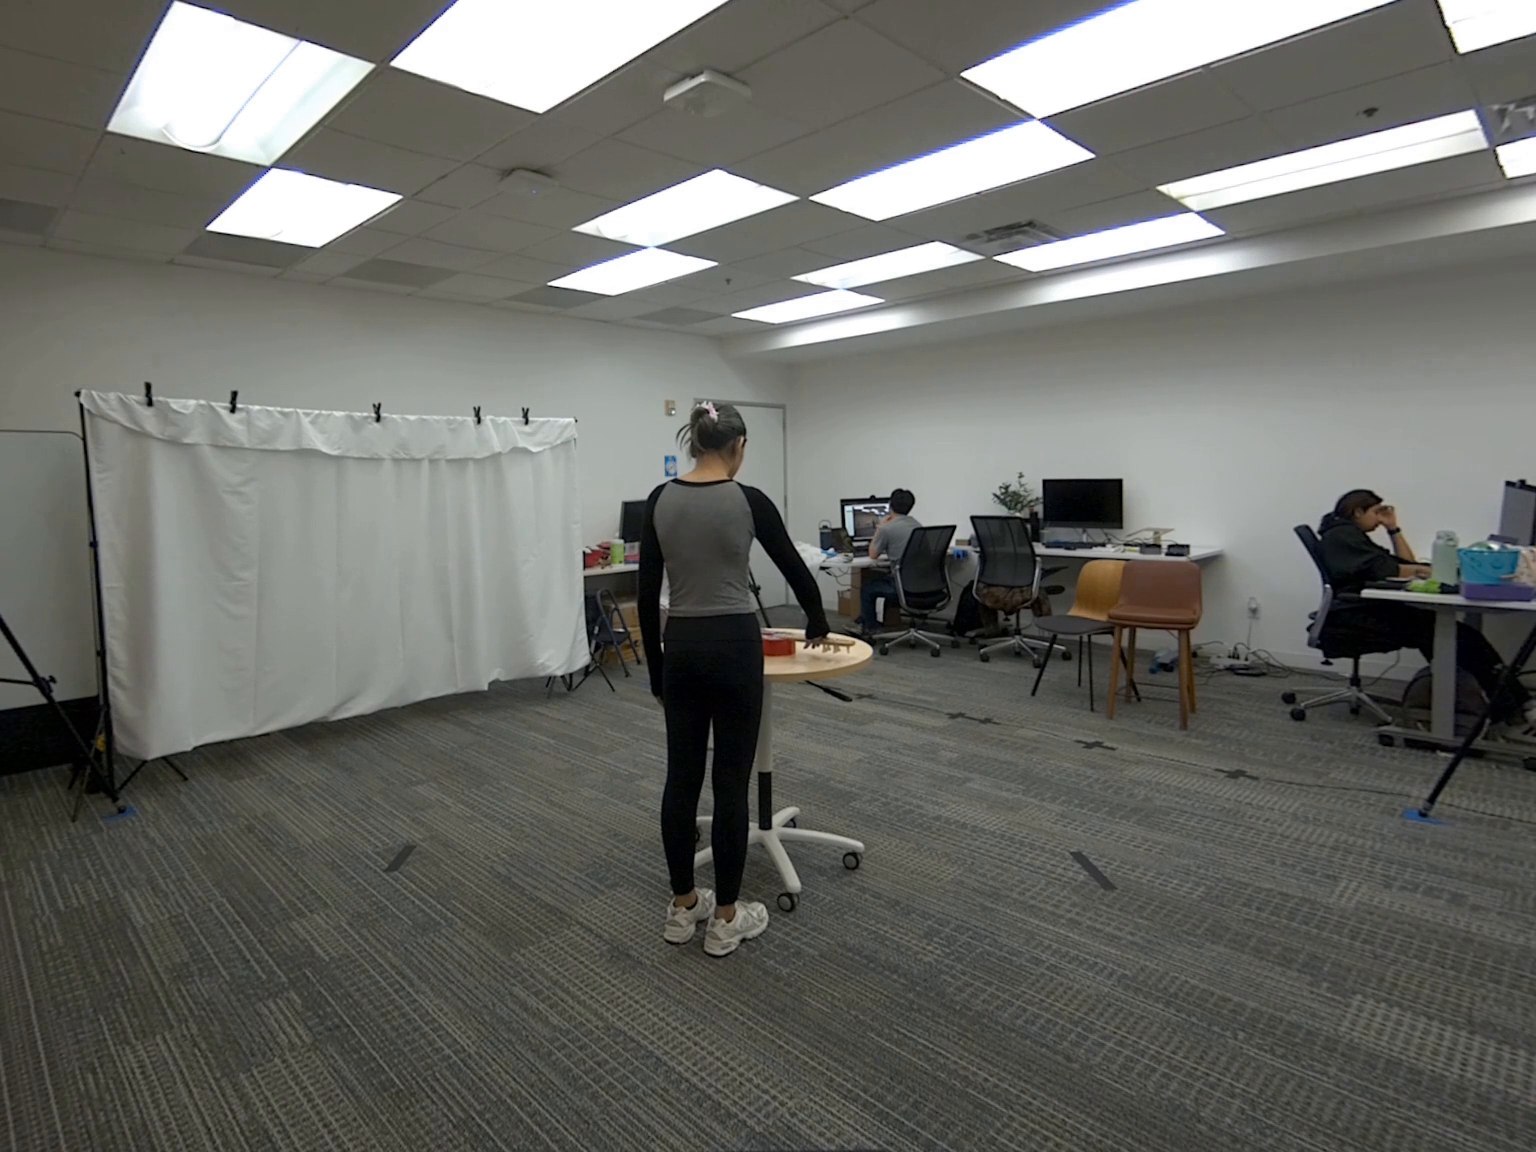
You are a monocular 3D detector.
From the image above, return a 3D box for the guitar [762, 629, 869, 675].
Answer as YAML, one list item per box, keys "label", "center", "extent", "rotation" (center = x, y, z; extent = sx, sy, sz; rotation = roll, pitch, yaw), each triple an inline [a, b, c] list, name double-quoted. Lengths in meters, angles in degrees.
- label: "guitar"
  center: [0.048, 0.237, 2.921]
  extent: [0.513, 0.070, 0.188]
  rotation: [5, 10, 37]
